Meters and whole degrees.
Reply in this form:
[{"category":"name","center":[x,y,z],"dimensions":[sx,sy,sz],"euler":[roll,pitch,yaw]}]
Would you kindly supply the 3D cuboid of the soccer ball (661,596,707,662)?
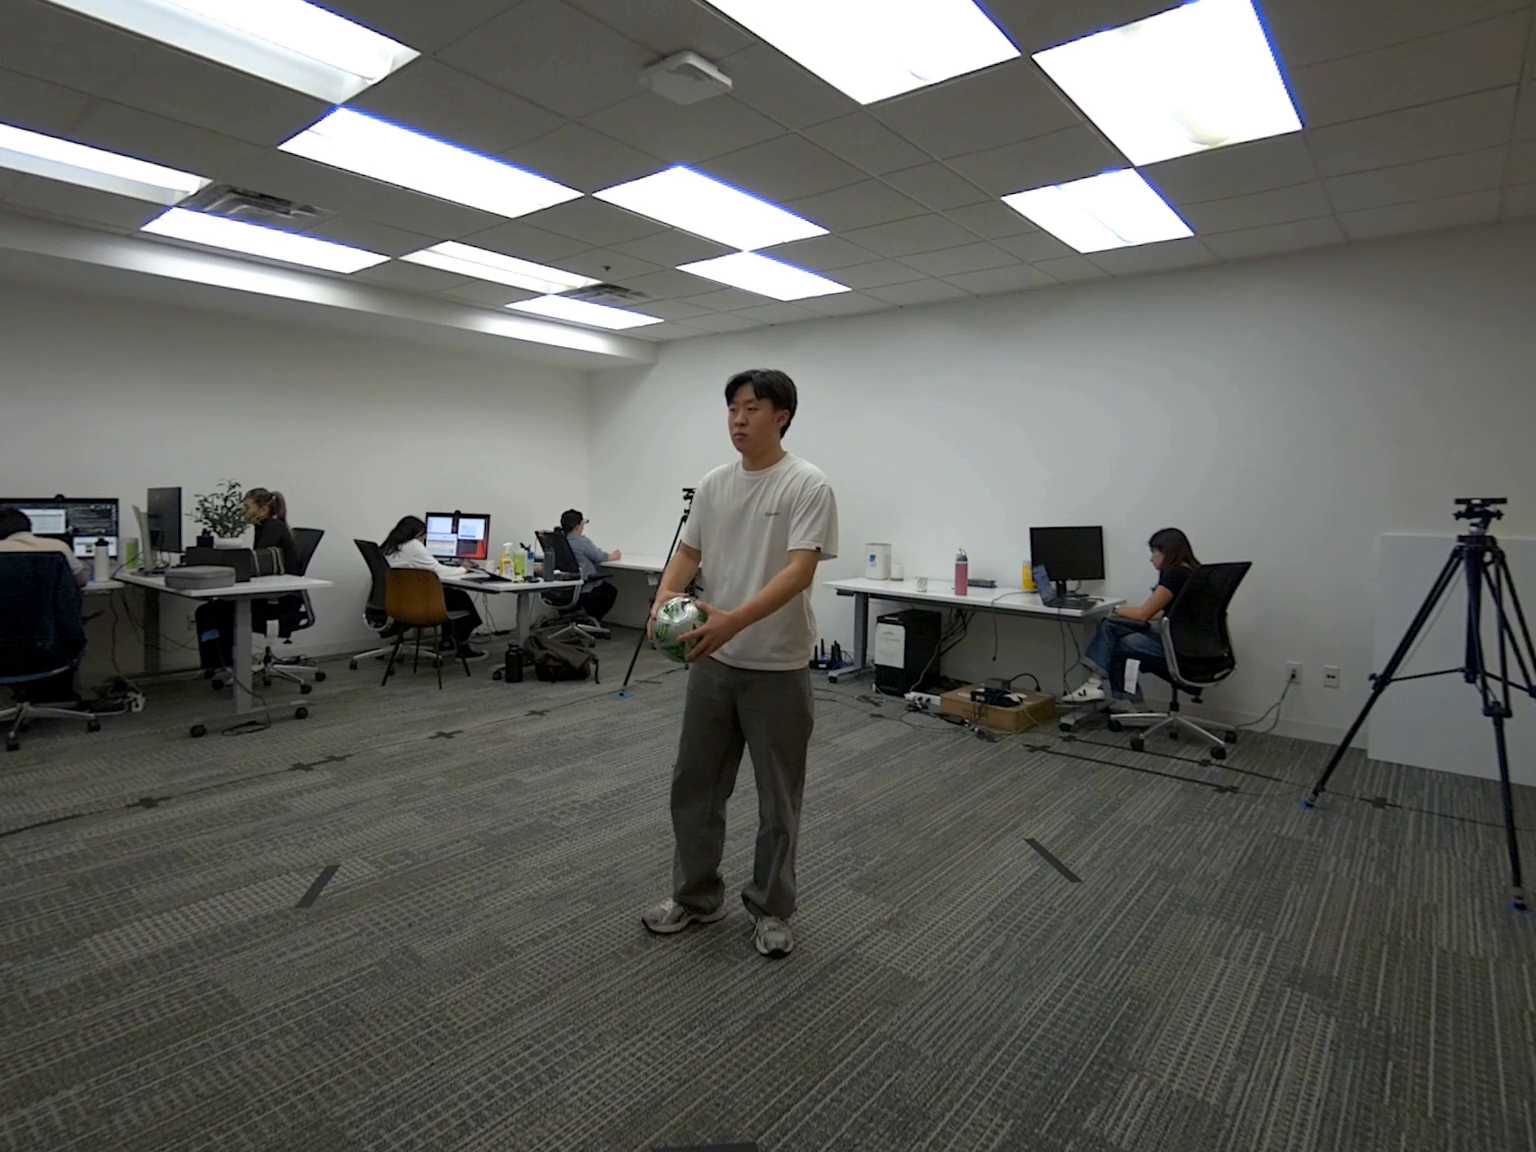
[{"category":"soccer ball","center":[-0.178,0.144,2.365],"dimensions":[0.187,0.187,0.188],"euler":[1,4,-2]}]
